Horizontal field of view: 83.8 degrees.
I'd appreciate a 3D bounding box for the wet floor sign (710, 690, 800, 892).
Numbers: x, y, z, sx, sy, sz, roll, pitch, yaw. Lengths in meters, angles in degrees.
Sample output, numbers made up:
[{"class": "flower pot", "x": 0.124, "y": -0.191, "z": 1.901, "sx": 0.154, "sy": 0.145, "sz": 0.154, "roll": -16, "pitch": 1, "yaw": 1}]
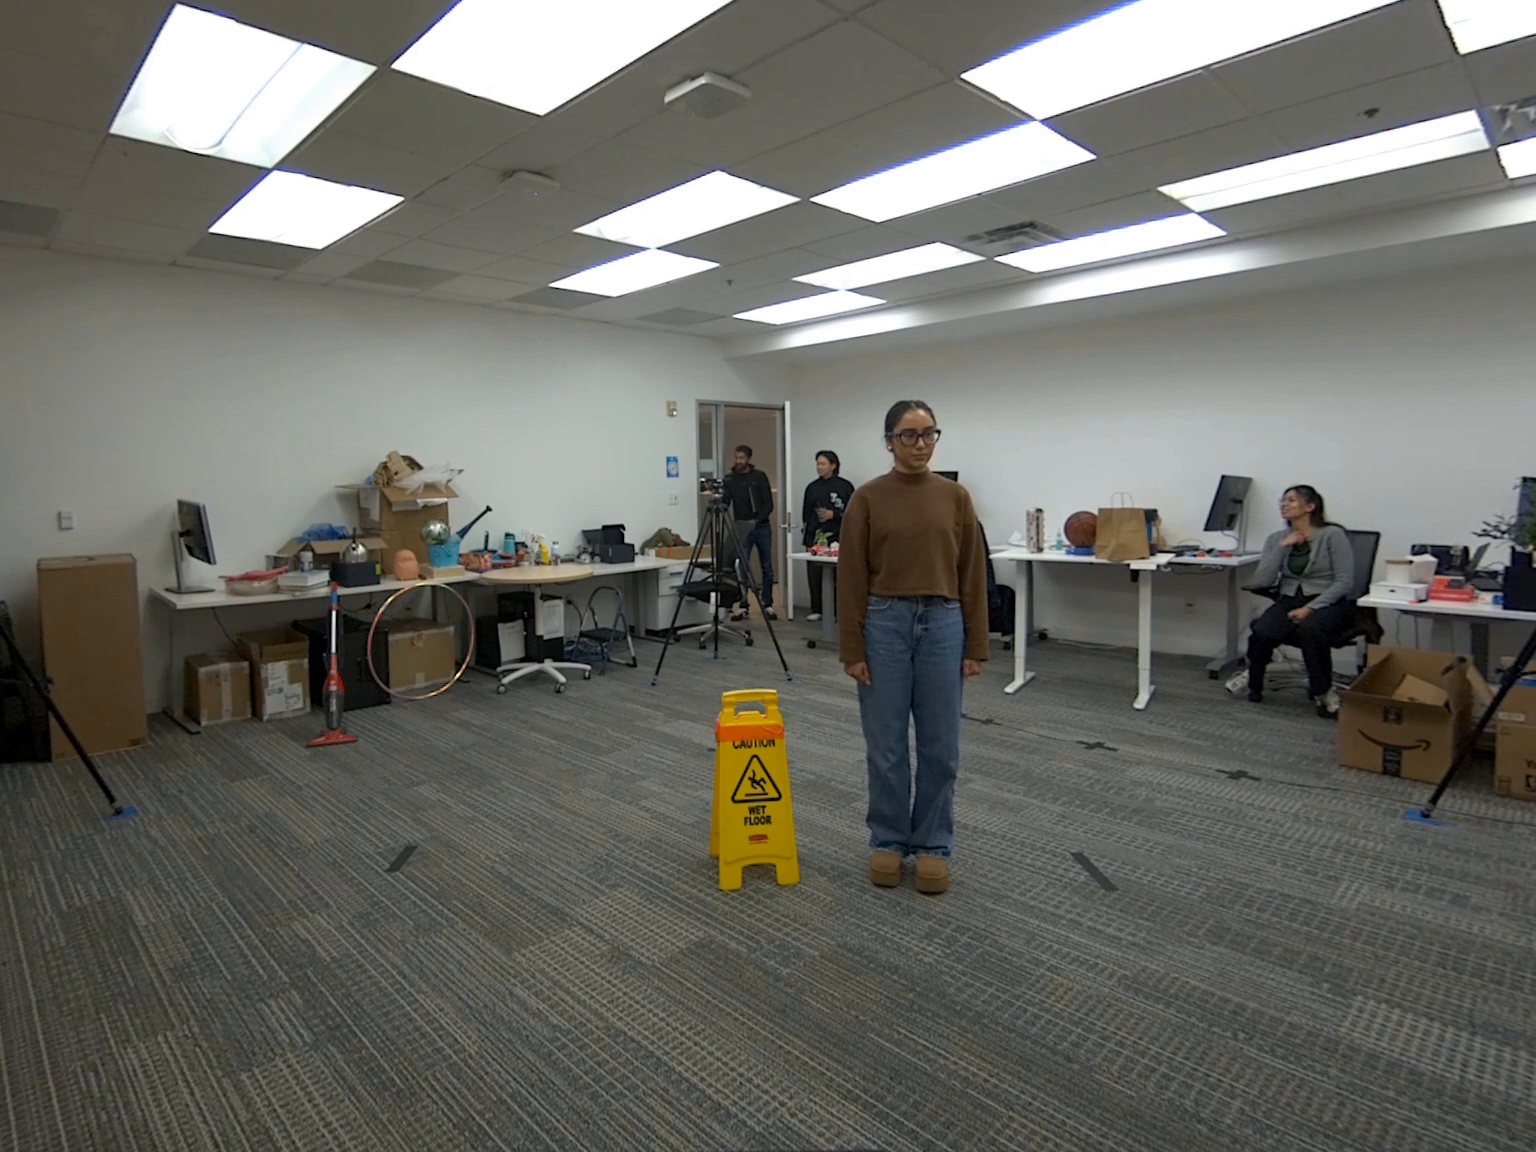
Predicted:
[{"class": "wet floor sign", "x": -0.057, "y": 0.726, "z": 3.037, "sx": 0.280, "sy": 0.644, "sz": 0.293, "roll": -2, "pitch": 4, "yaw": -10}]
